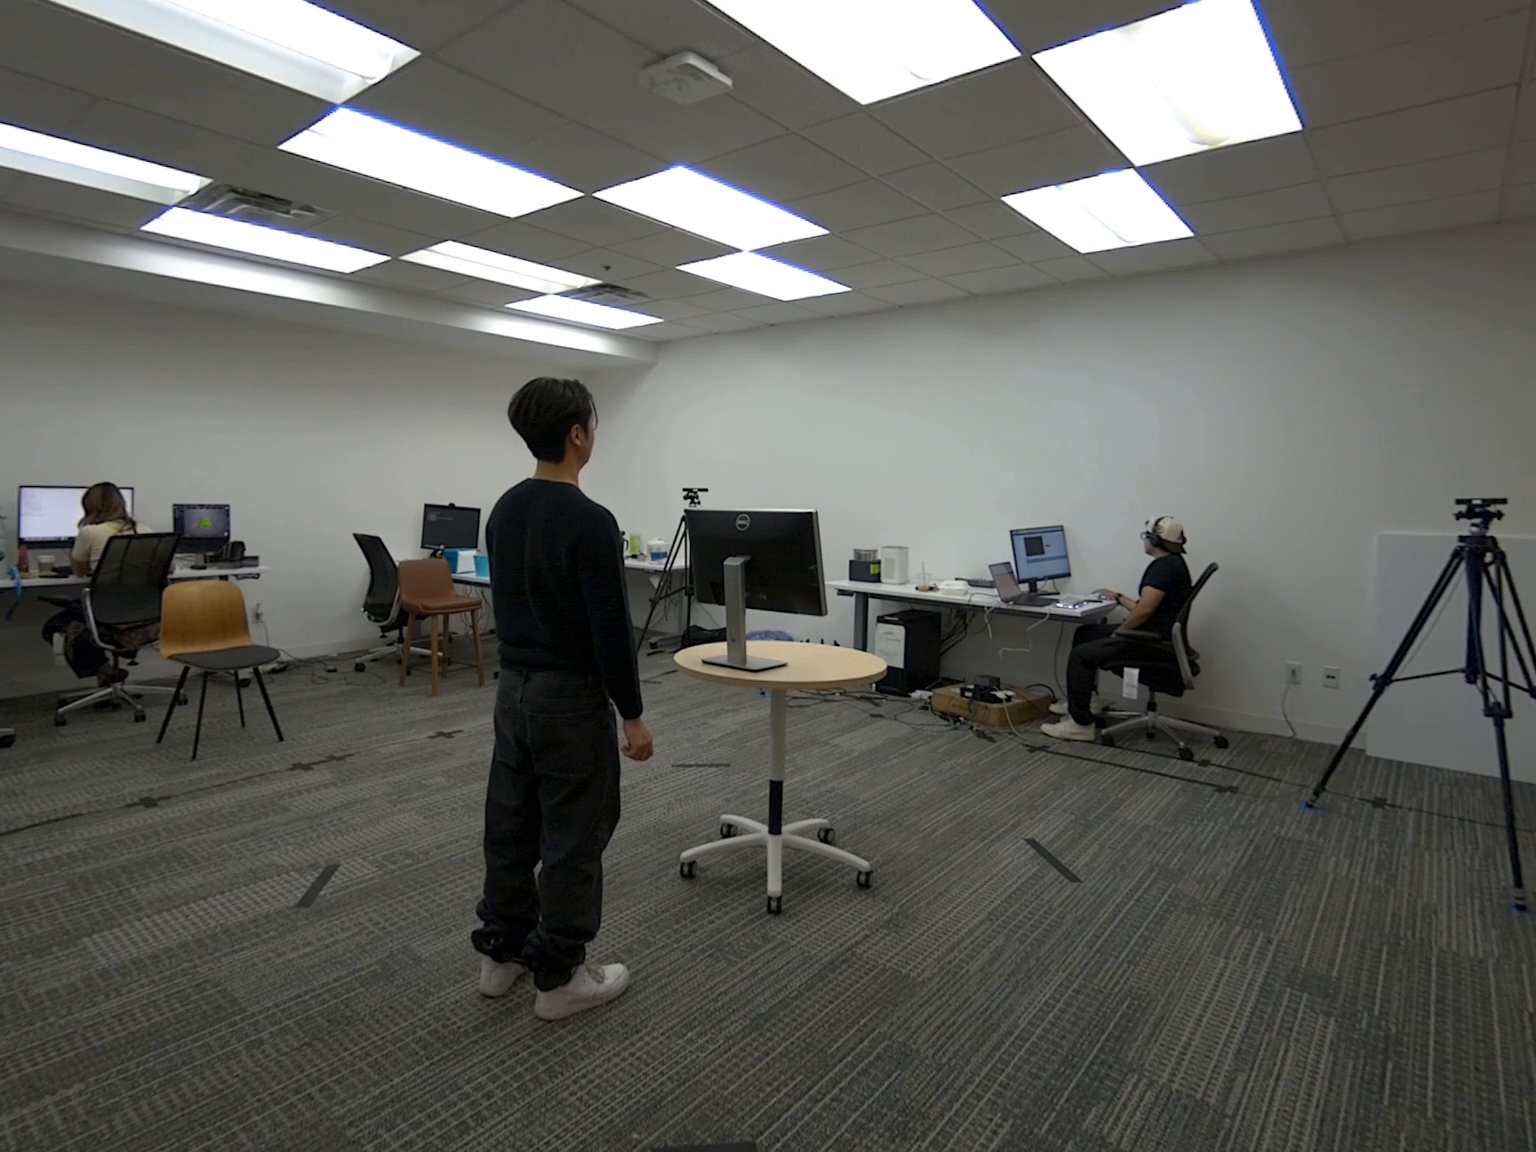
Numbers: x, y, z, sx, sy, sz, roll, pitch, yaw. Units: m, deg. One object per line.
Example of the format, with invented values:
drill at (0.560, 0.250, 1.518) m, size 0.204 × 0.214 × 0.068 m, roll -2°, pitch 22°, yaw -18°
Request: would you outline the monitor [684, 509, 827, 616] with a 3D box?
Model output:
monitor at (-0.087, 0.038, 2.959) m, size 0.556 × 0.522 × 0.181 m, roll 4°, pitch 3°, yaw 35°
